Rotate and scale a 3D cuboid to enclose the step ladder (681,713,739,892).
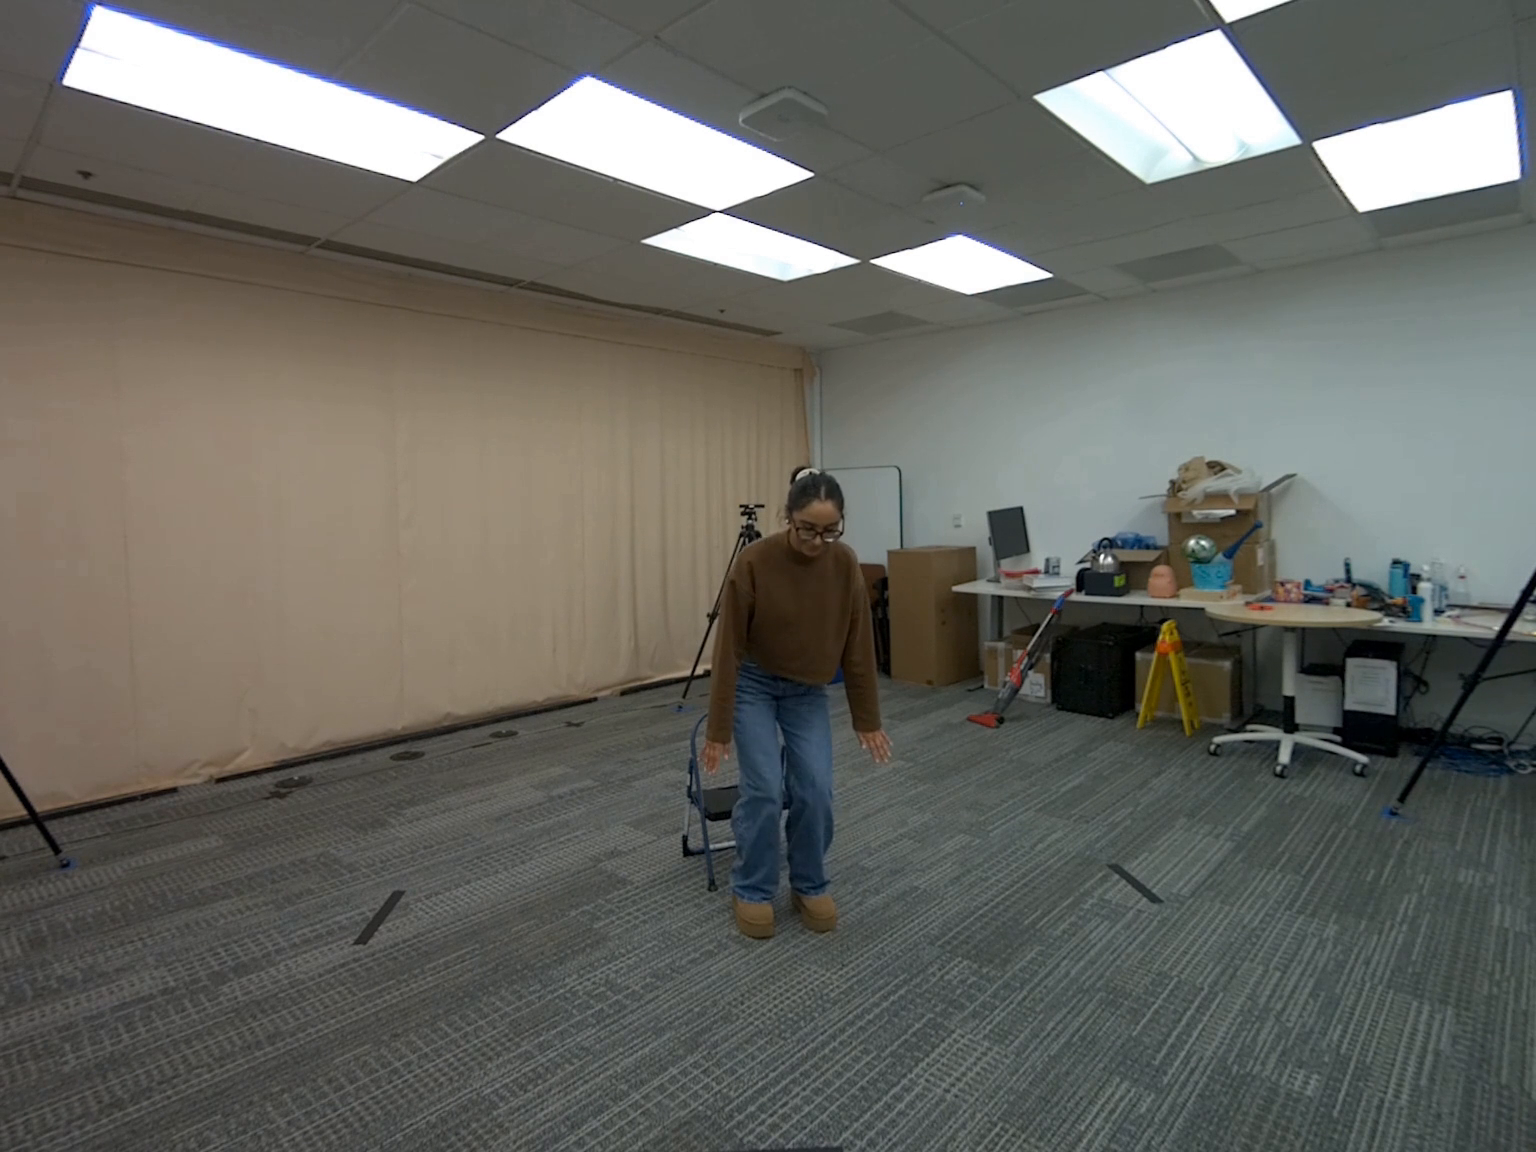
[{"bbox_3d":[-0.087,0.819,3.252,0.421,0.604,0.358,-3,5,-23],"label":"step ladder"}]
